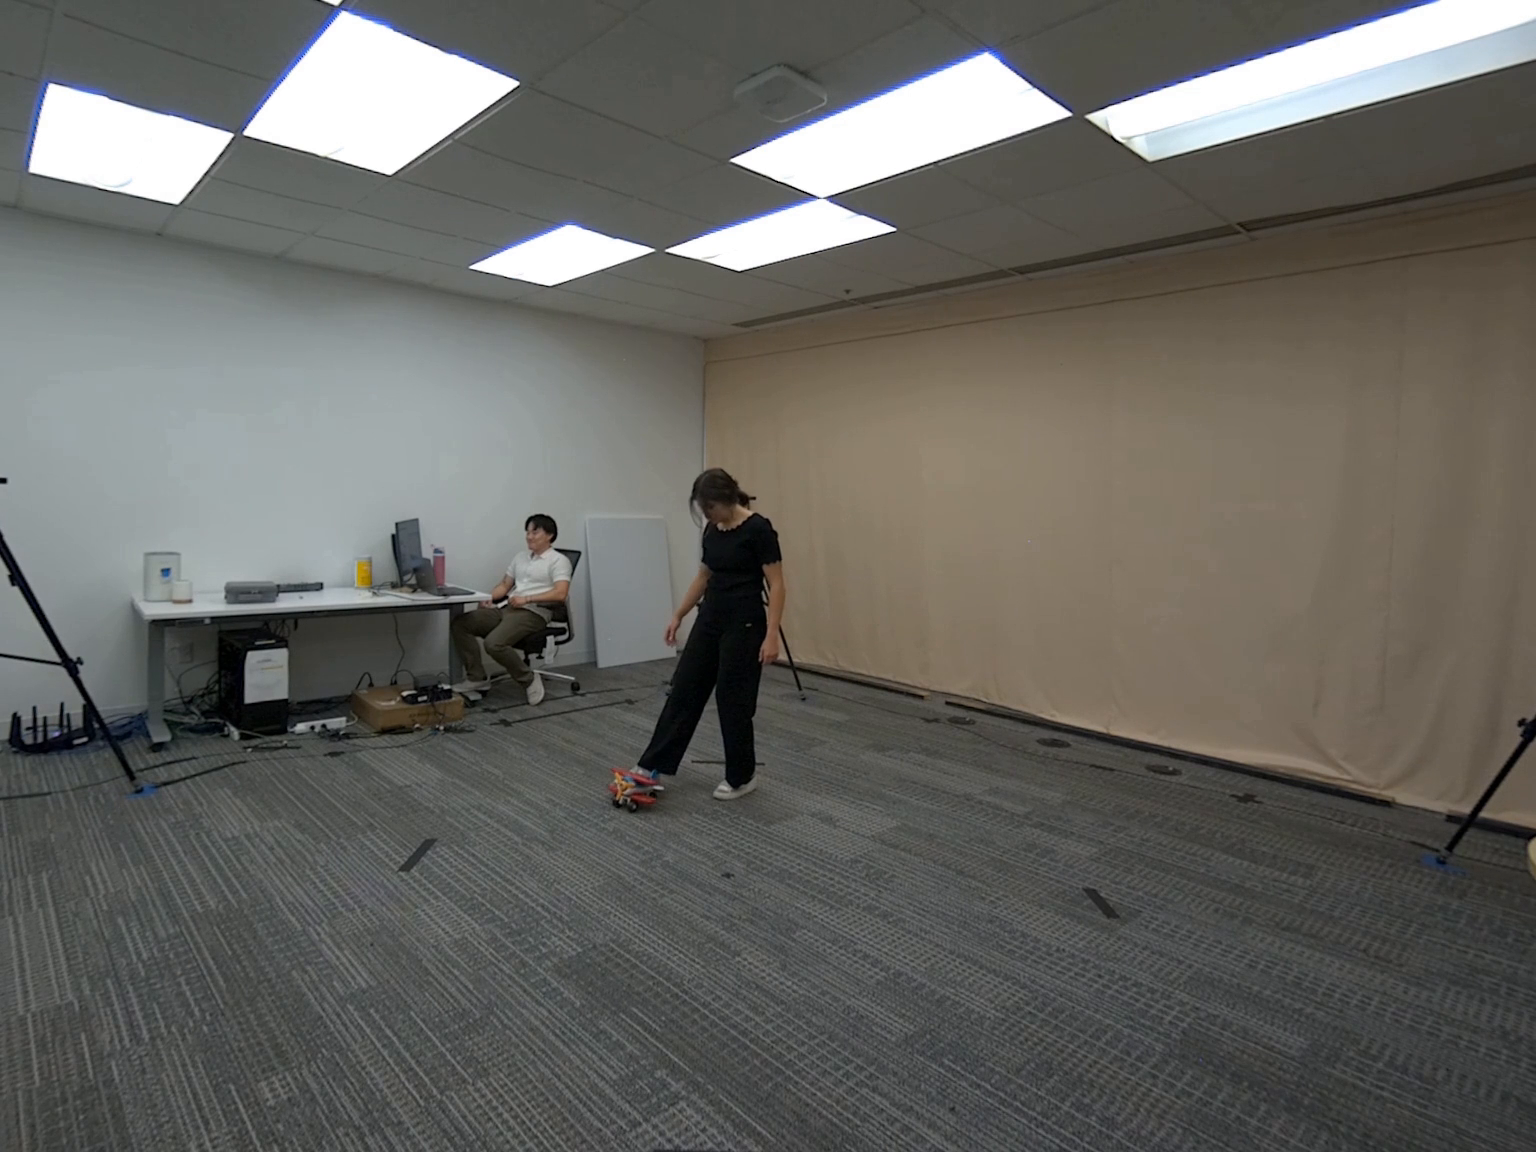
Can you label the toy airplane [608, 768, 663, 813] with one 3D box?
[{"bbox_3d":[-0.615,0.958,3.810,0.252,0.156,0.260,5,7,2],"label":"toy airplane"}]
